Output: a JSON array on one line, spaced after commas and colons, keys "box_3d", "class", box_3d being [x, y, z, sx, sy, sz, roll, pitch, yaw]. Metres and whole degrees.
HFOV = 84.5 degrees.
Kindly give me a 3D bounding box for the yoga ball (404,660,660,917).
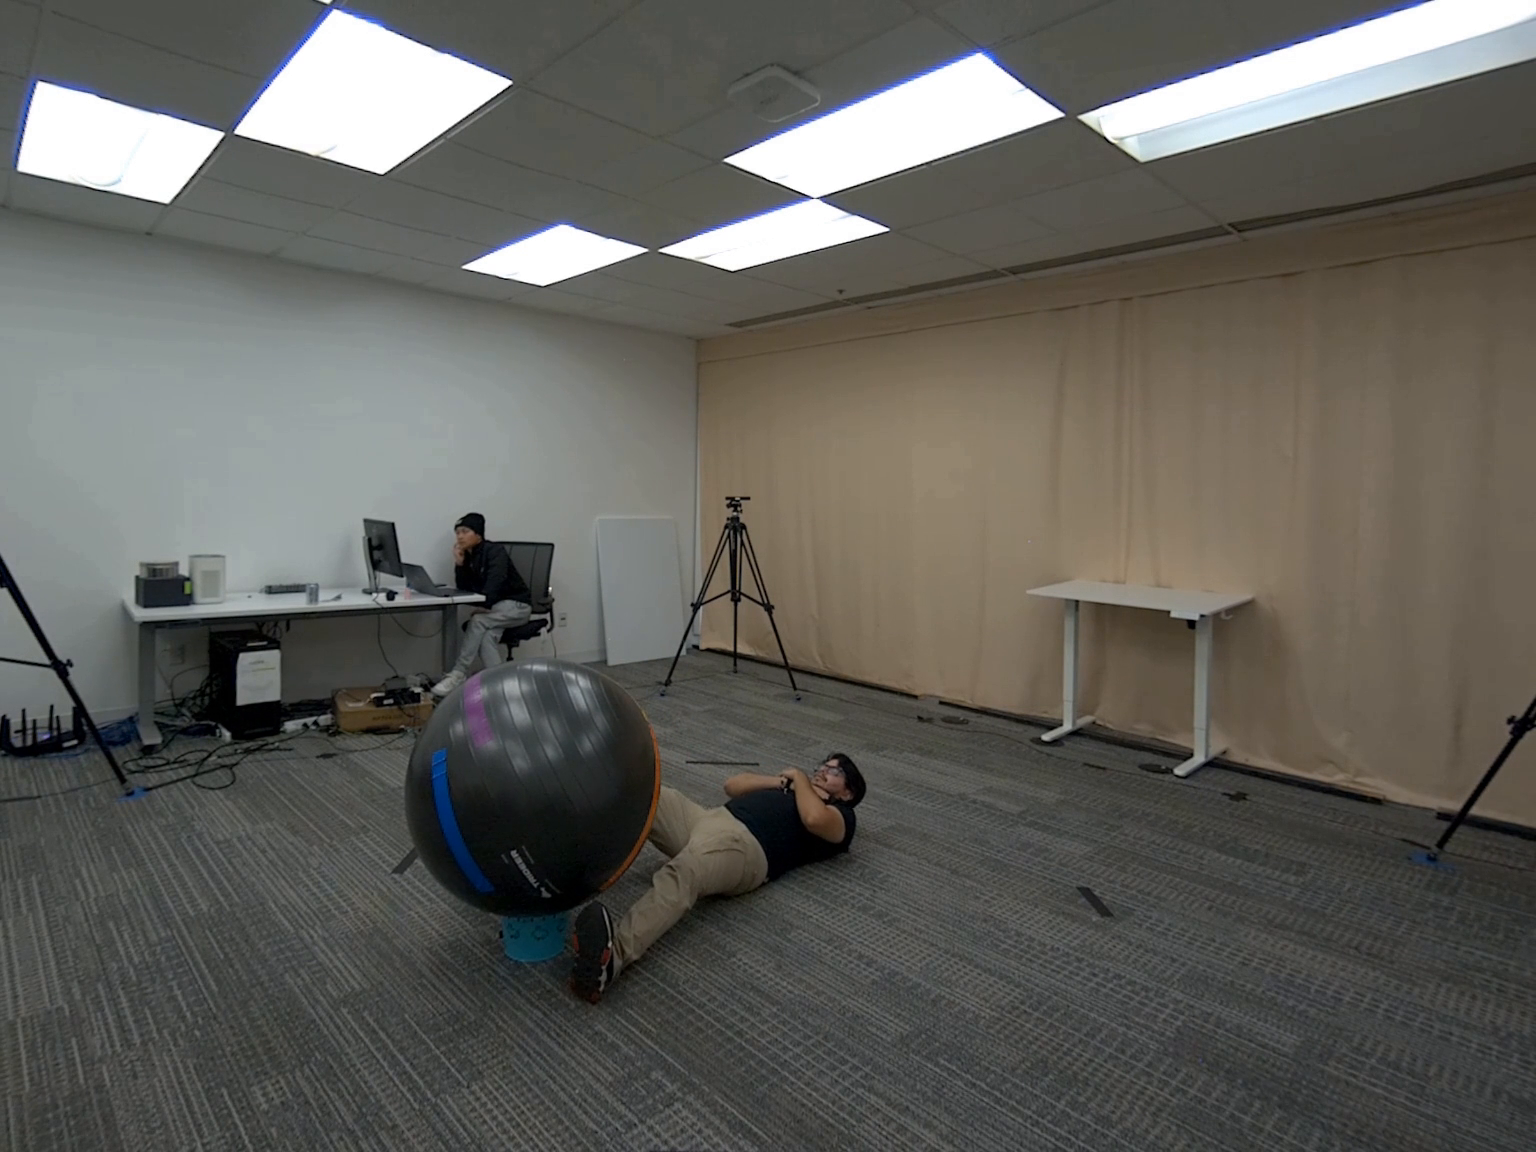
[{"box_3d": [-0.713, 0.637, 2.567, 0.757, 0.756, 0.761, 1, 4, -1], "class": "yoga ball"}]
